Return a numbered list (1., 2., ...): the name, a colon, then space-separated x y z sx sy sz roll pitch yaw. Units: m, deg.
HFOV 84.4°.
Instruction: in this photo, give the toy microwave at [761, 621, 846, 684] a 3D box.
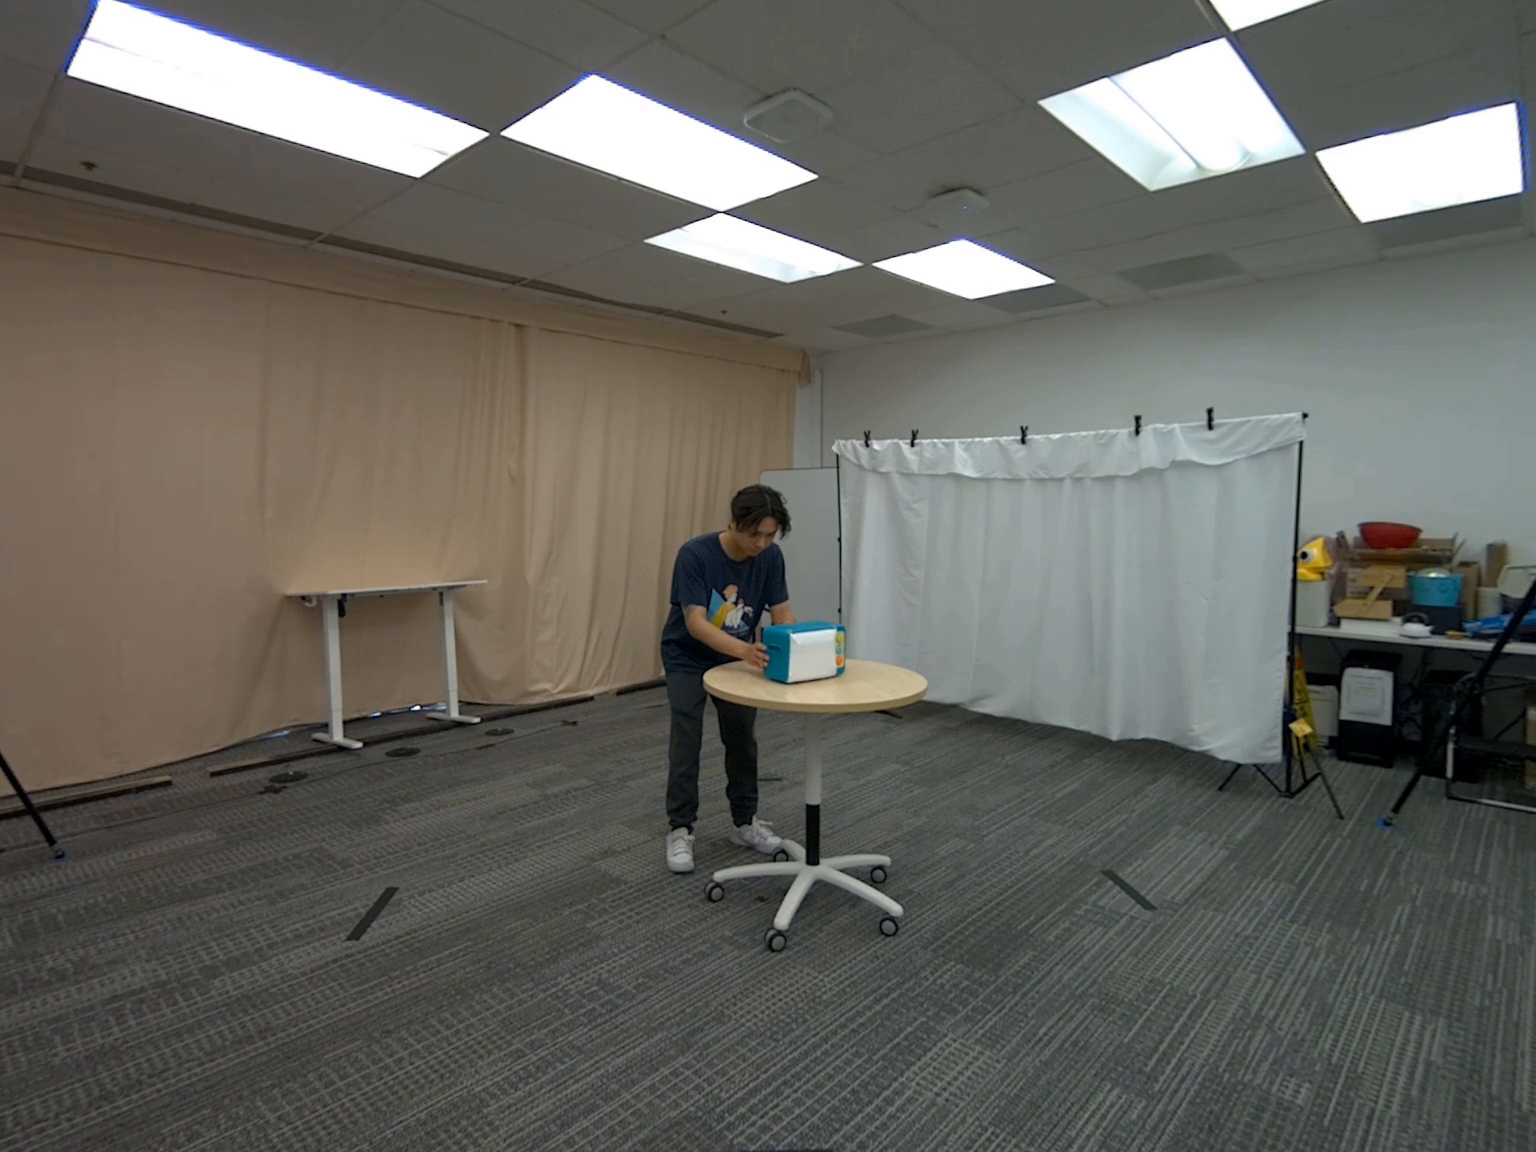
1. toy microwave: 0.134 0.261 2.897 0.278 0.183 0.157 -3 5 -37
